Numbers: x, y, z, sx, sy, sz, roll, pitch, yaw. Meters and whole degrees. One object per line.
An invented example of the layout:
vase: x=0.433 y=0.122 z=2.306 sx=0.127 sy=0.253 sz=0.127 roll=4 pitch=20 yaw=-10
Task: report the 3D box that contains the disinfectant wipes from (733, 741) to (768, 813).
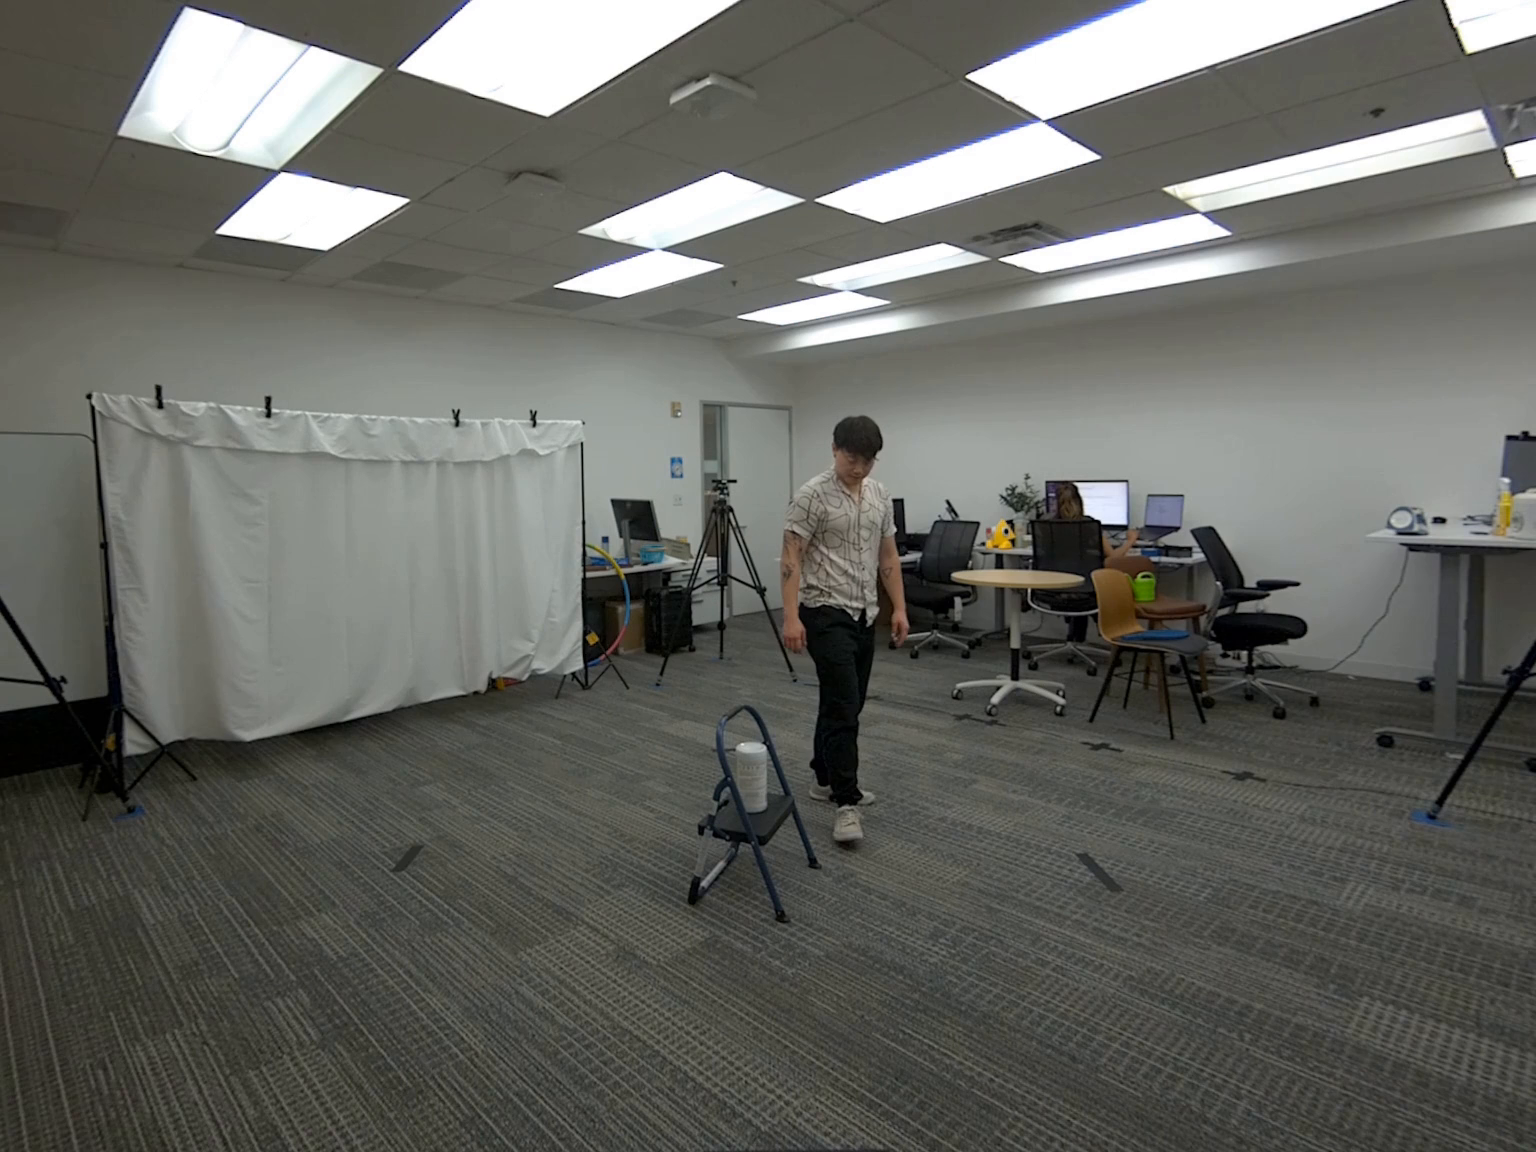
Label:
disinfectant wipes: x=-0.054 y=0.703 z=2.951 sx=0.118 sy=0.215 sz=0.119 roll=0 pitch=10 yaw=-2
